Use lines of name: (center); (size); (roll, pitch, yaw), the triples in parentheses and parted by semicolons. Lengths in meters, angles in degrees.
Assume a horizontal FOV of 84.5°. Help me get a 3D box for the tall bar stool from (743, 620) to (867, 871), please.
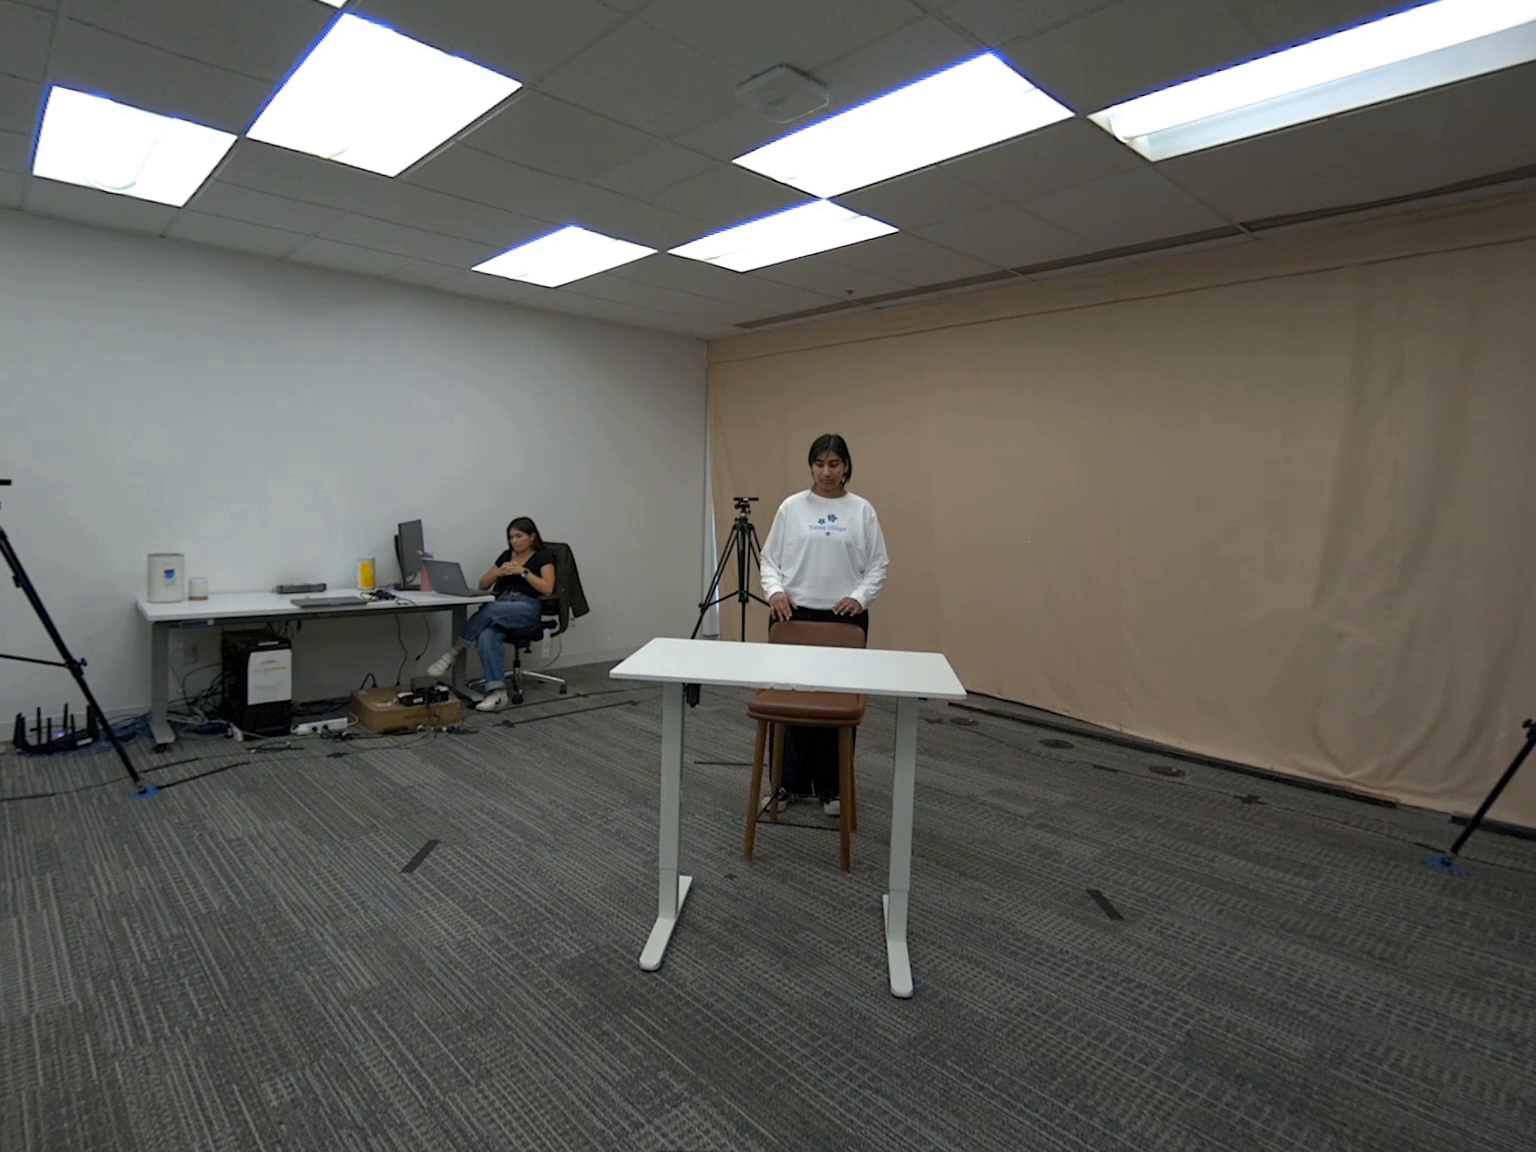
tall bar stool: (0.146, 0.653, 3.408); (0.462, 0.890, 0.462); (2, 0, 13)
